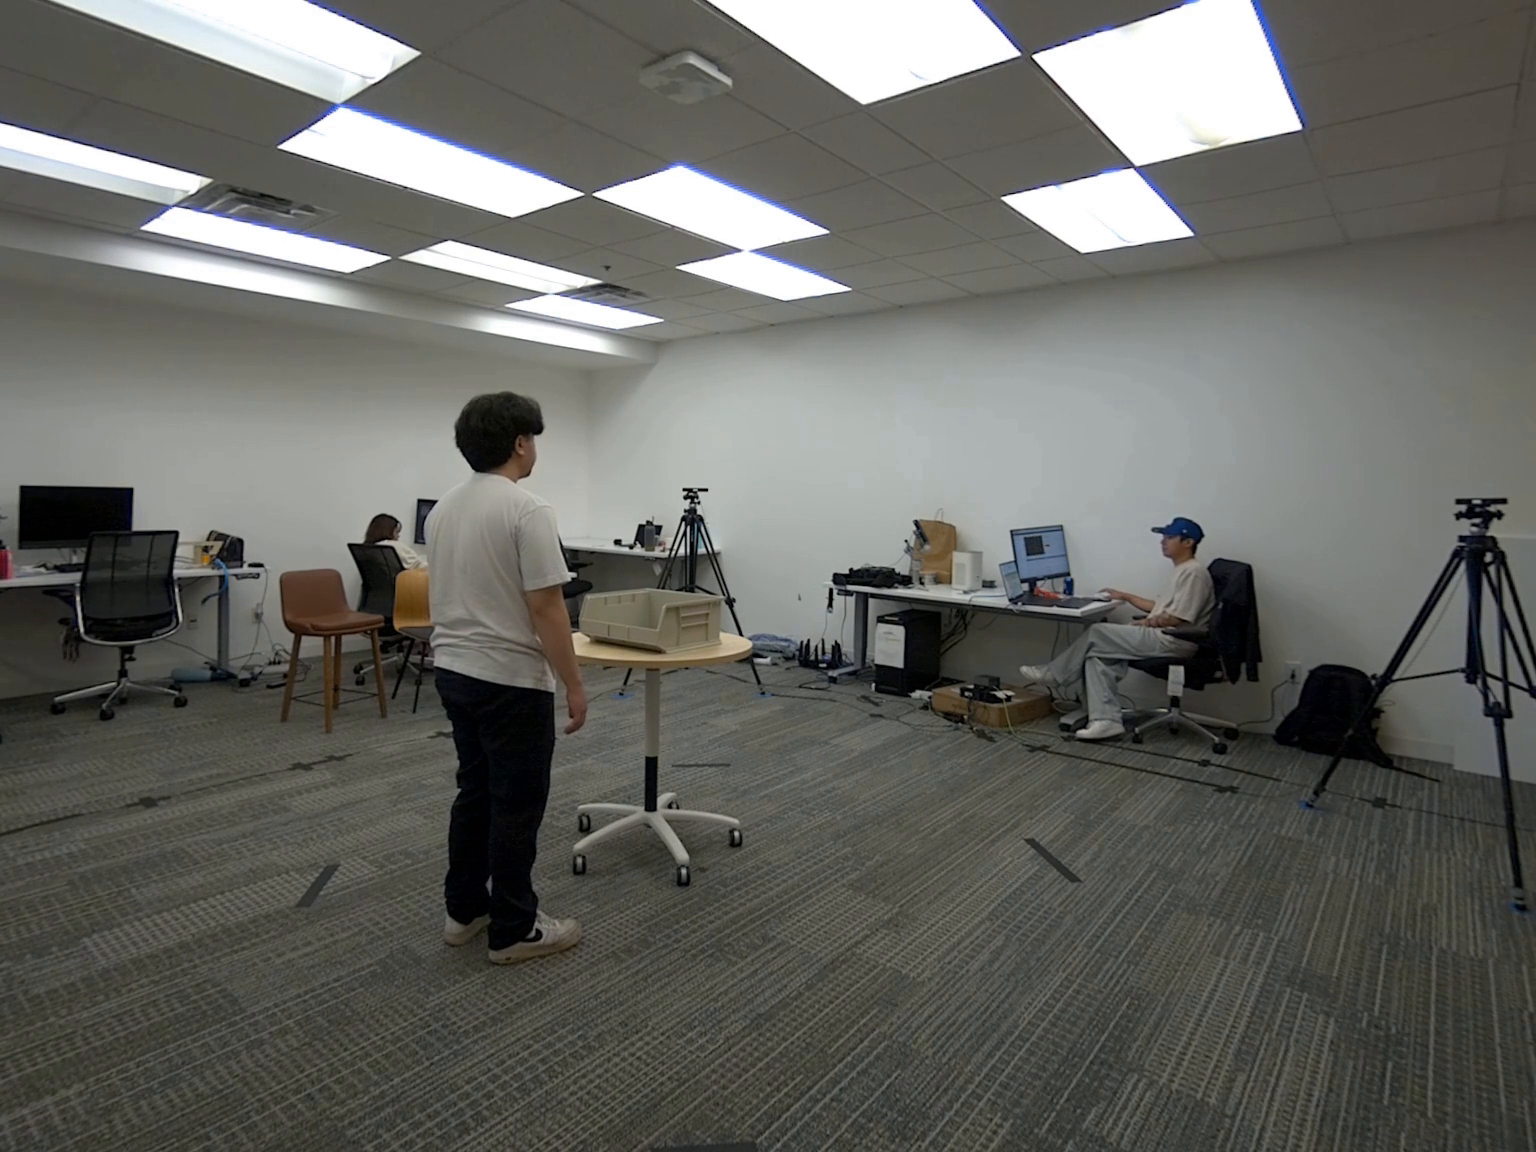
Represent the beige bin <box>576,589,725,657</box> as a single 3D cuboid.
[{"bbox_3d":[-0.455,0.168,3.247,0.436,0.188,0.366,4,4,37],"label":"beige bin"}]
